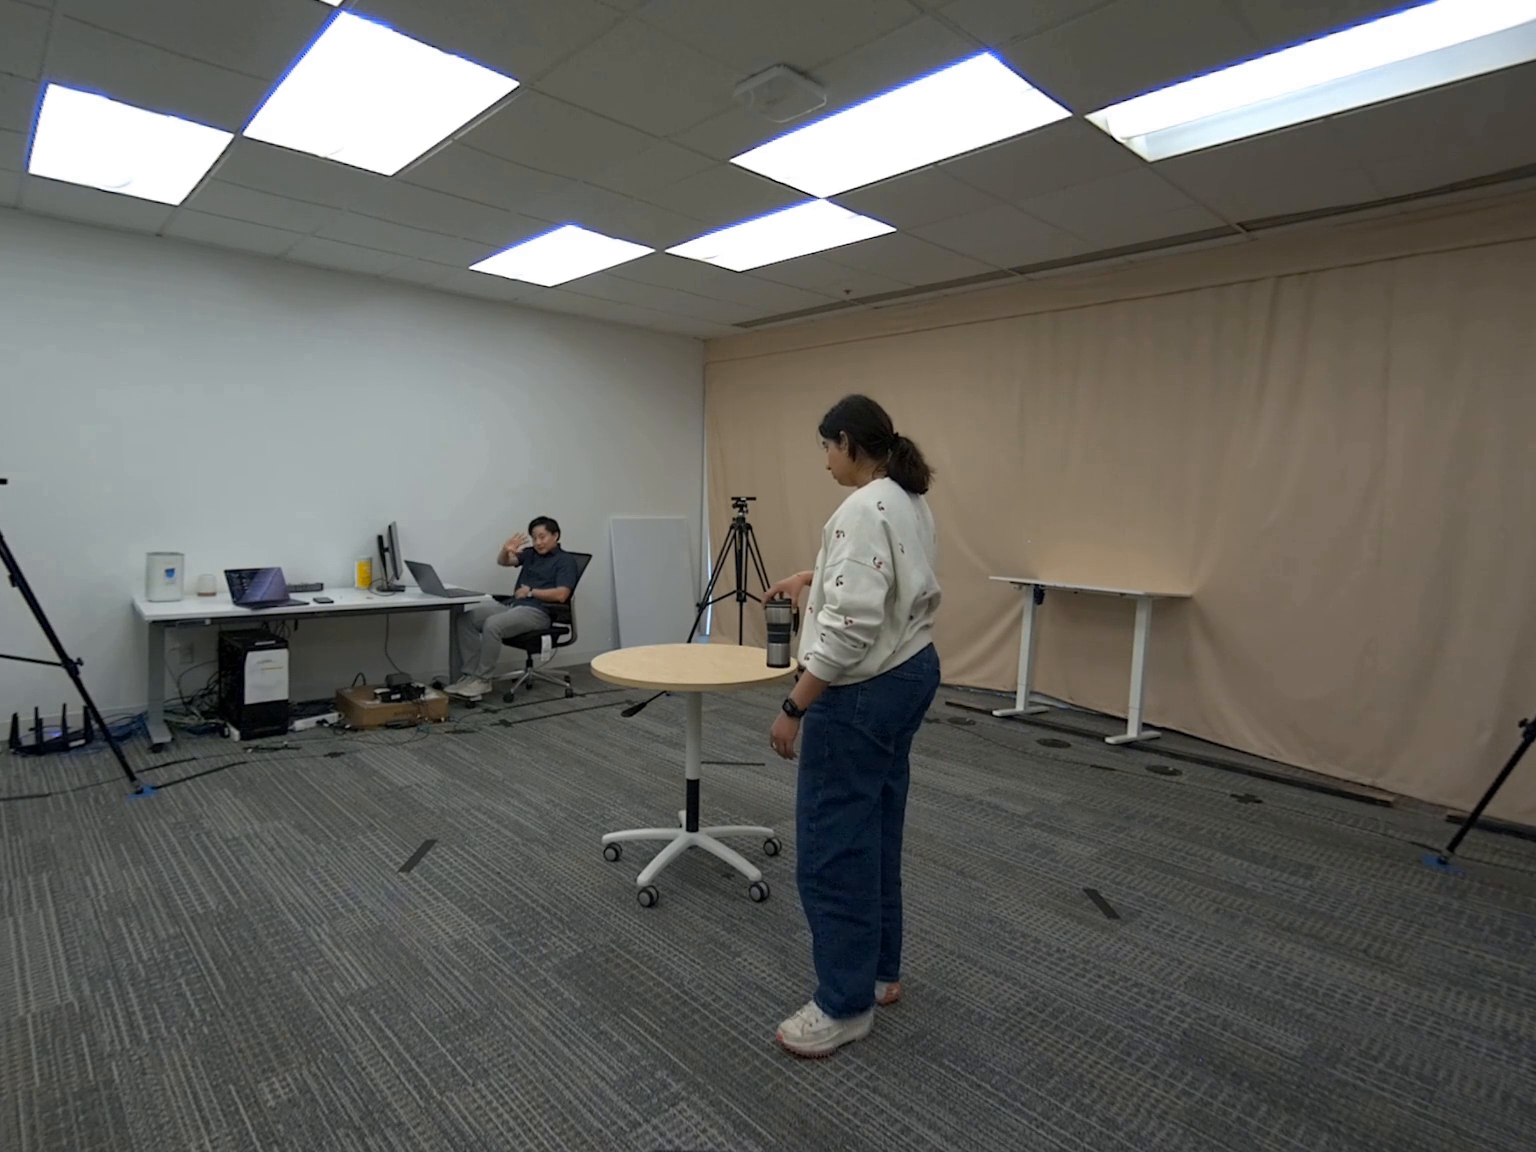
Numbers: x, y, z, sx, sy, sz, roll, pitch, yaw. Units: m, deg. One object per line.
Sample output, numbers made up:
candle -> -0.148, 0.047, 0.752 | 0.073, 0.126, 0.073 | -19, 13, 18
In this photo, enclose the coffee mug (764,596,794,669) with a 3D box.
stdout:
coffee mug -> 0.045, 0.178, 2.493 | 0.125, 0.203, 0.086 | -3, -4, 43
